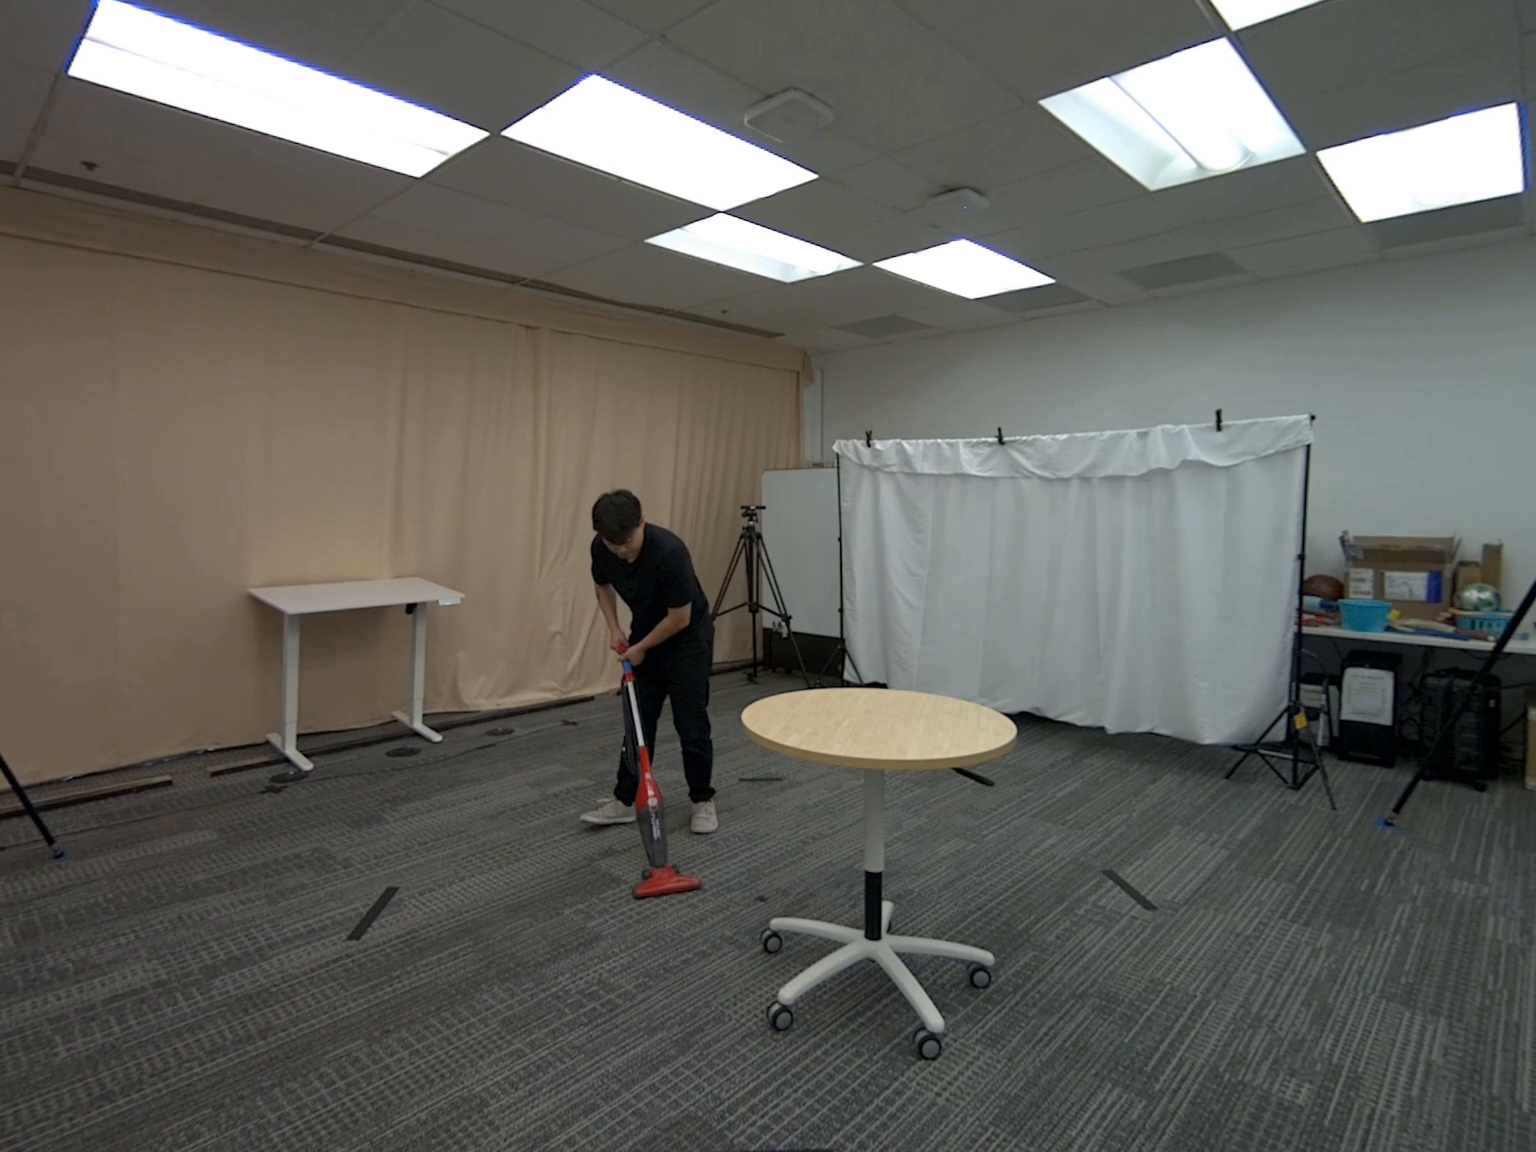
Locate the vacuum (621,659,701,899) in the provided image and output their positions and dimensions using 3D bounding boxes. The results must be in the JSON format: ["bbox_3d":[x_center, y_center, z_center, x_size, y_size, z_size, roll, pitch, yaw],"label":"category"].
[{"bbox_3d":[-0.513,0.716,3.377,0.248,1.078,0.143,-6,-38,-19],"label":"vacuum"}]
